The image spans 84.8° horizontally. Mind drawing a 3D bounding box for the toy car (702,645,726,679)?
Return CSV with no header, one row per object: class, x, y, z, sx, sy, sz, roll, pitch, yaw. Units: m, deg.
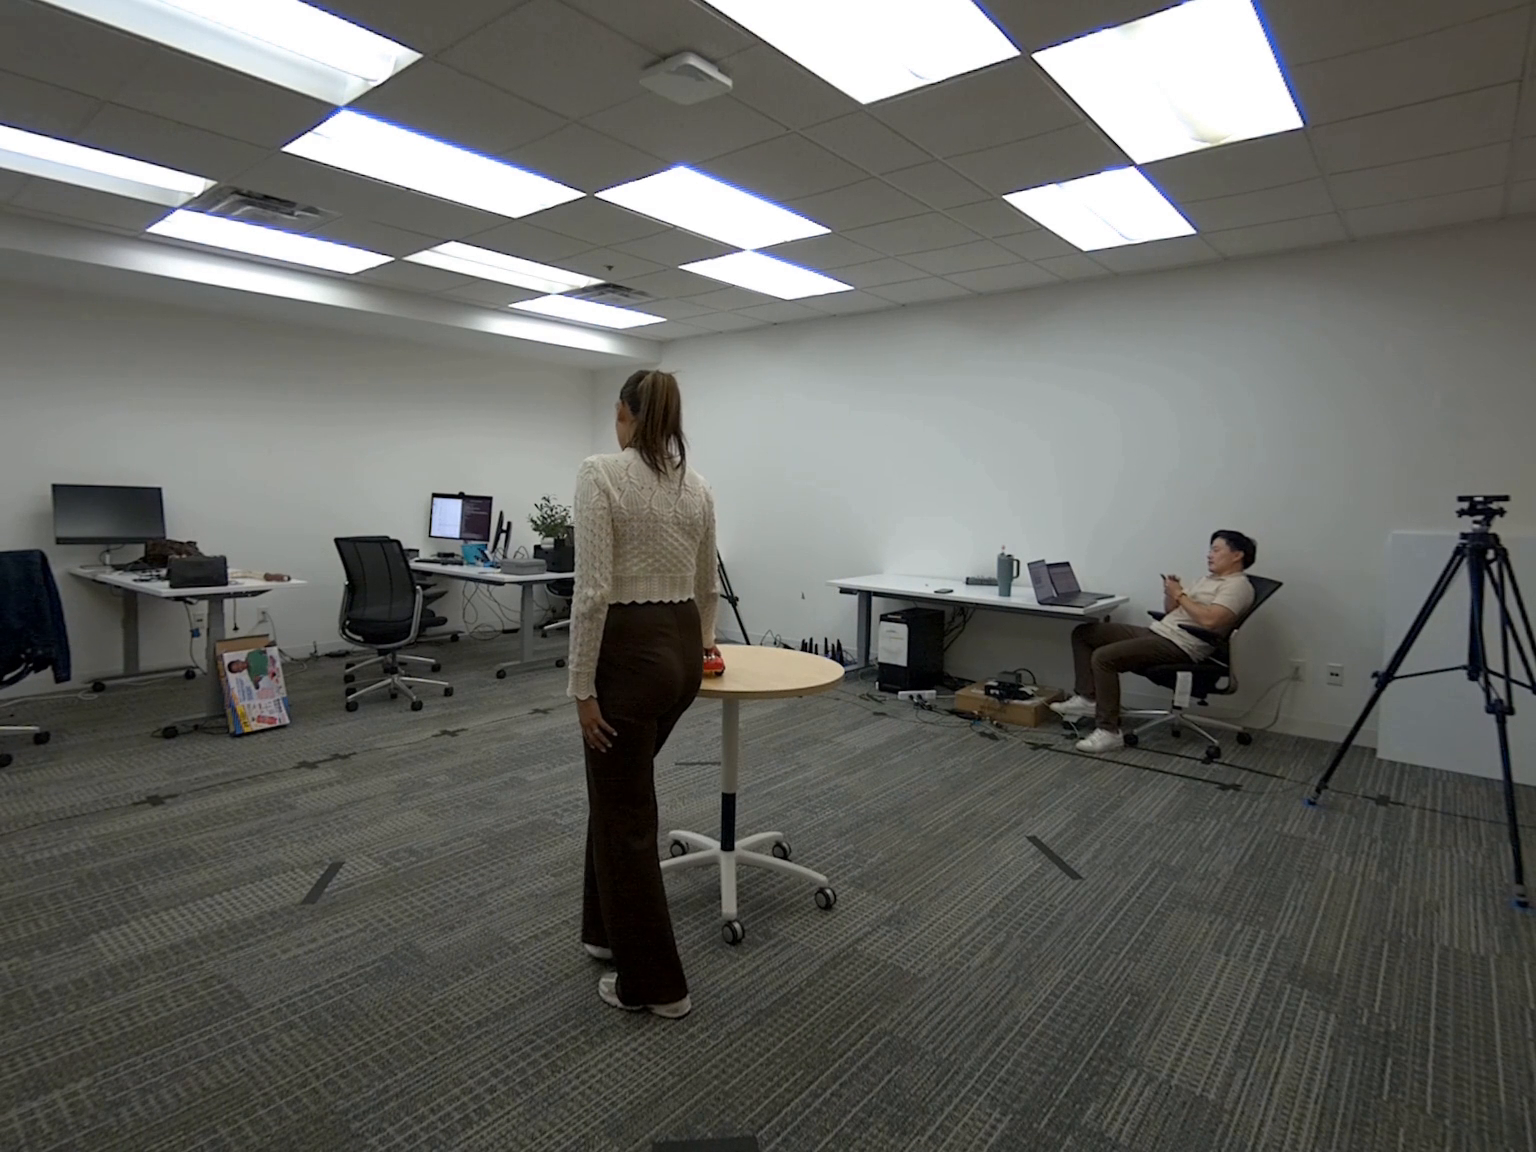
toy car,-0.221,0.279,2.783,0.129,0.084,0.256,1,-5,-11
